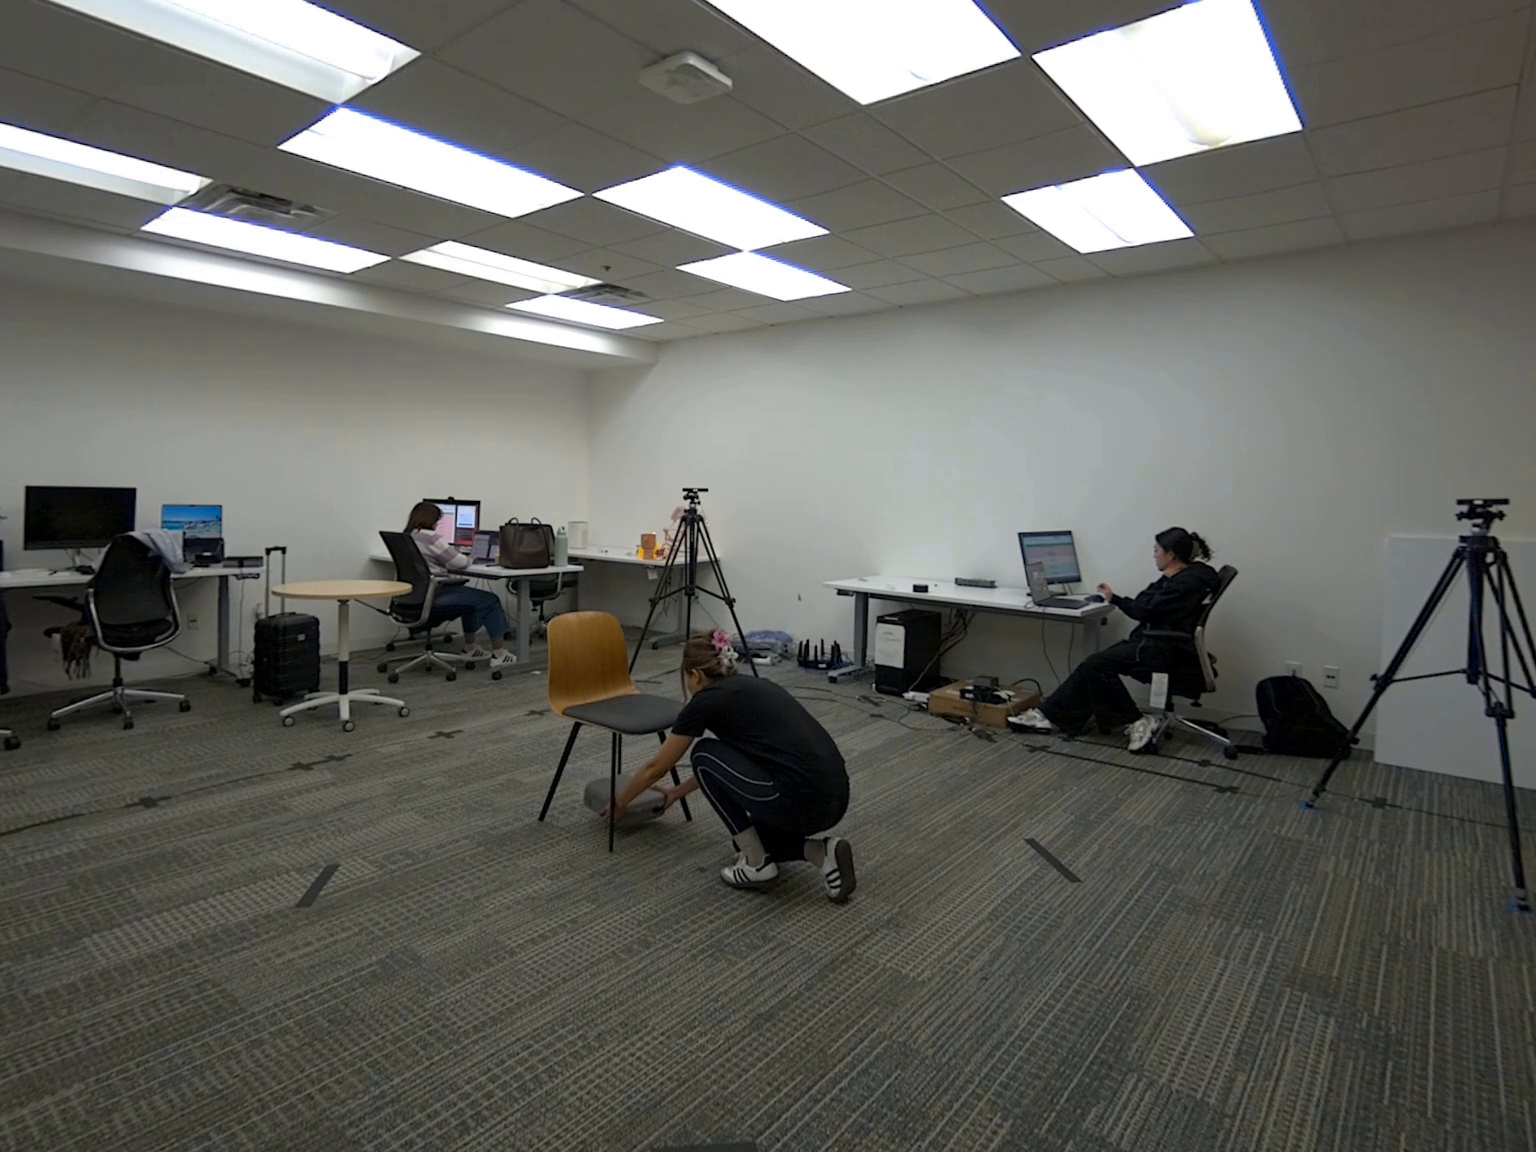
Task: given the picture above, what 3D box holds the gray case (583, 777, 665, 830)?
[{"bbox_3d":[-0.611,0.916,3.507,0.270,0.104,0.249,16,10,40],"label":"gray case"}]
